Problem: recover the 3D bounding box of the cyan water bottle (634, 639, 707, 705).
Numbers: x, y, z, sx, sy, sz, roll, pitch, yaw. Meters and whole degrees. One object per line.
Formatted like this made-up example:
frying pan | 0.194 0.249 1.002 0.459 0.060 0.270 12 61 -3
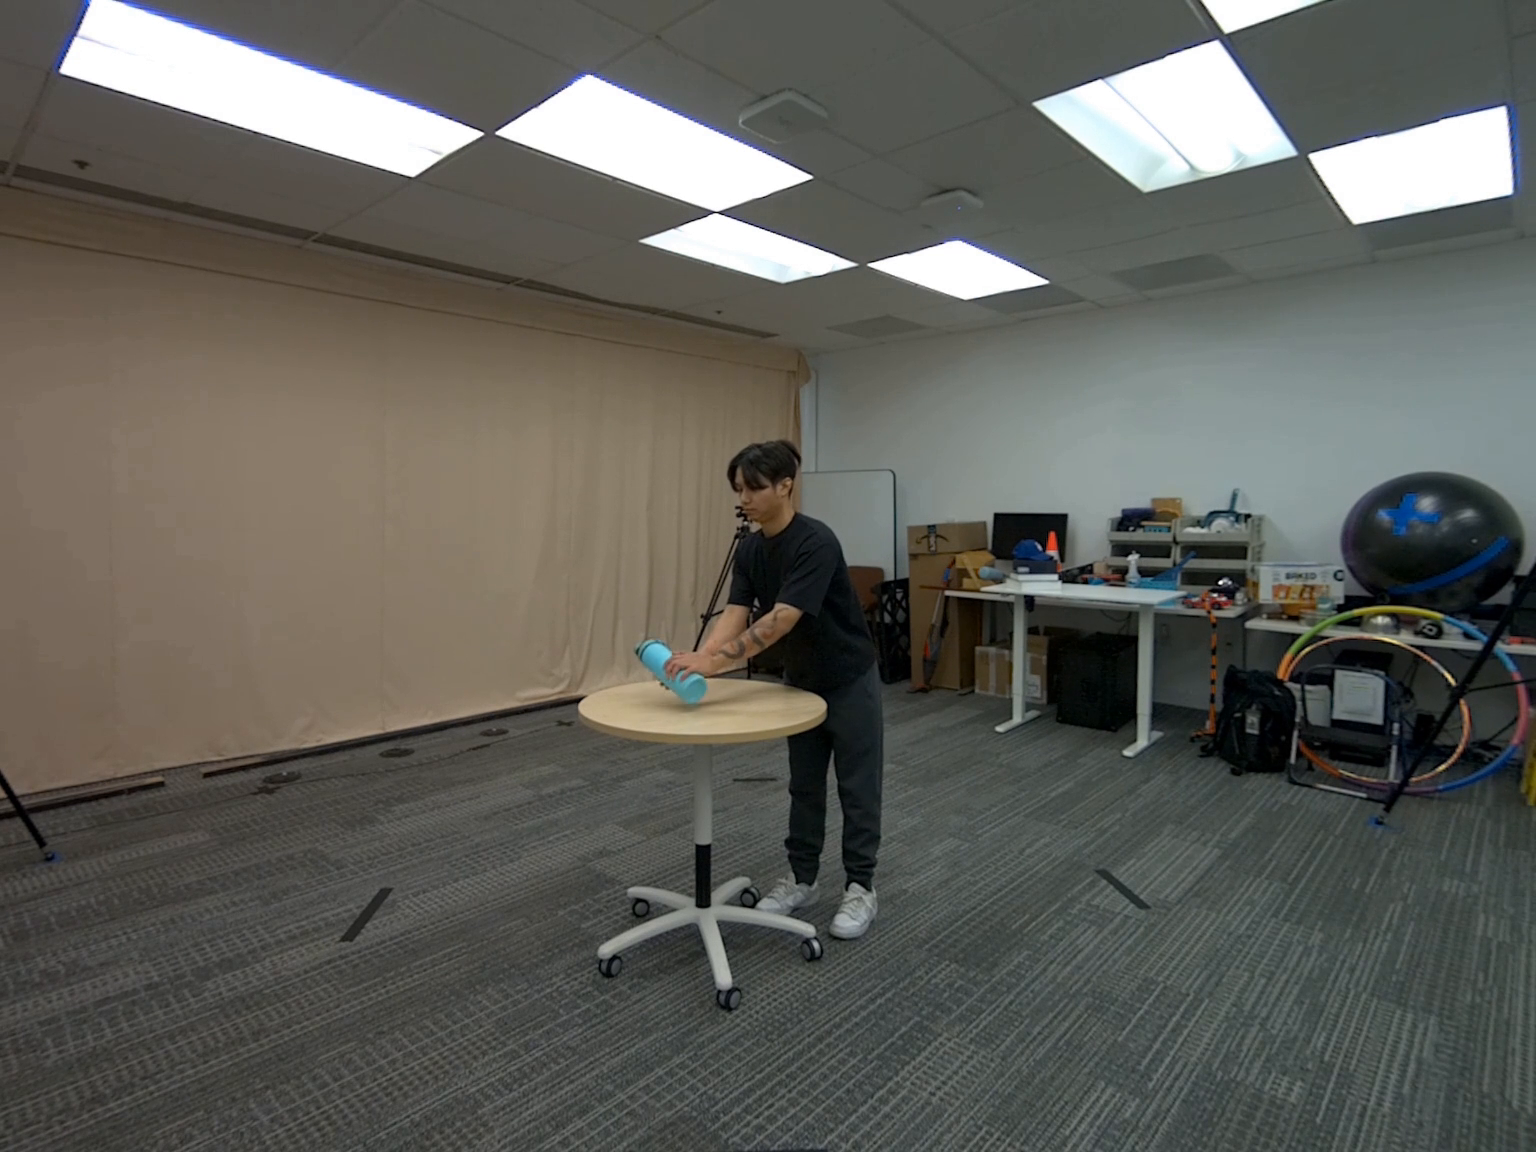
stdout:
cyan water bottle | -0.303 0.280 2.562 0.089 0.092 0.294 -3 25 -41
